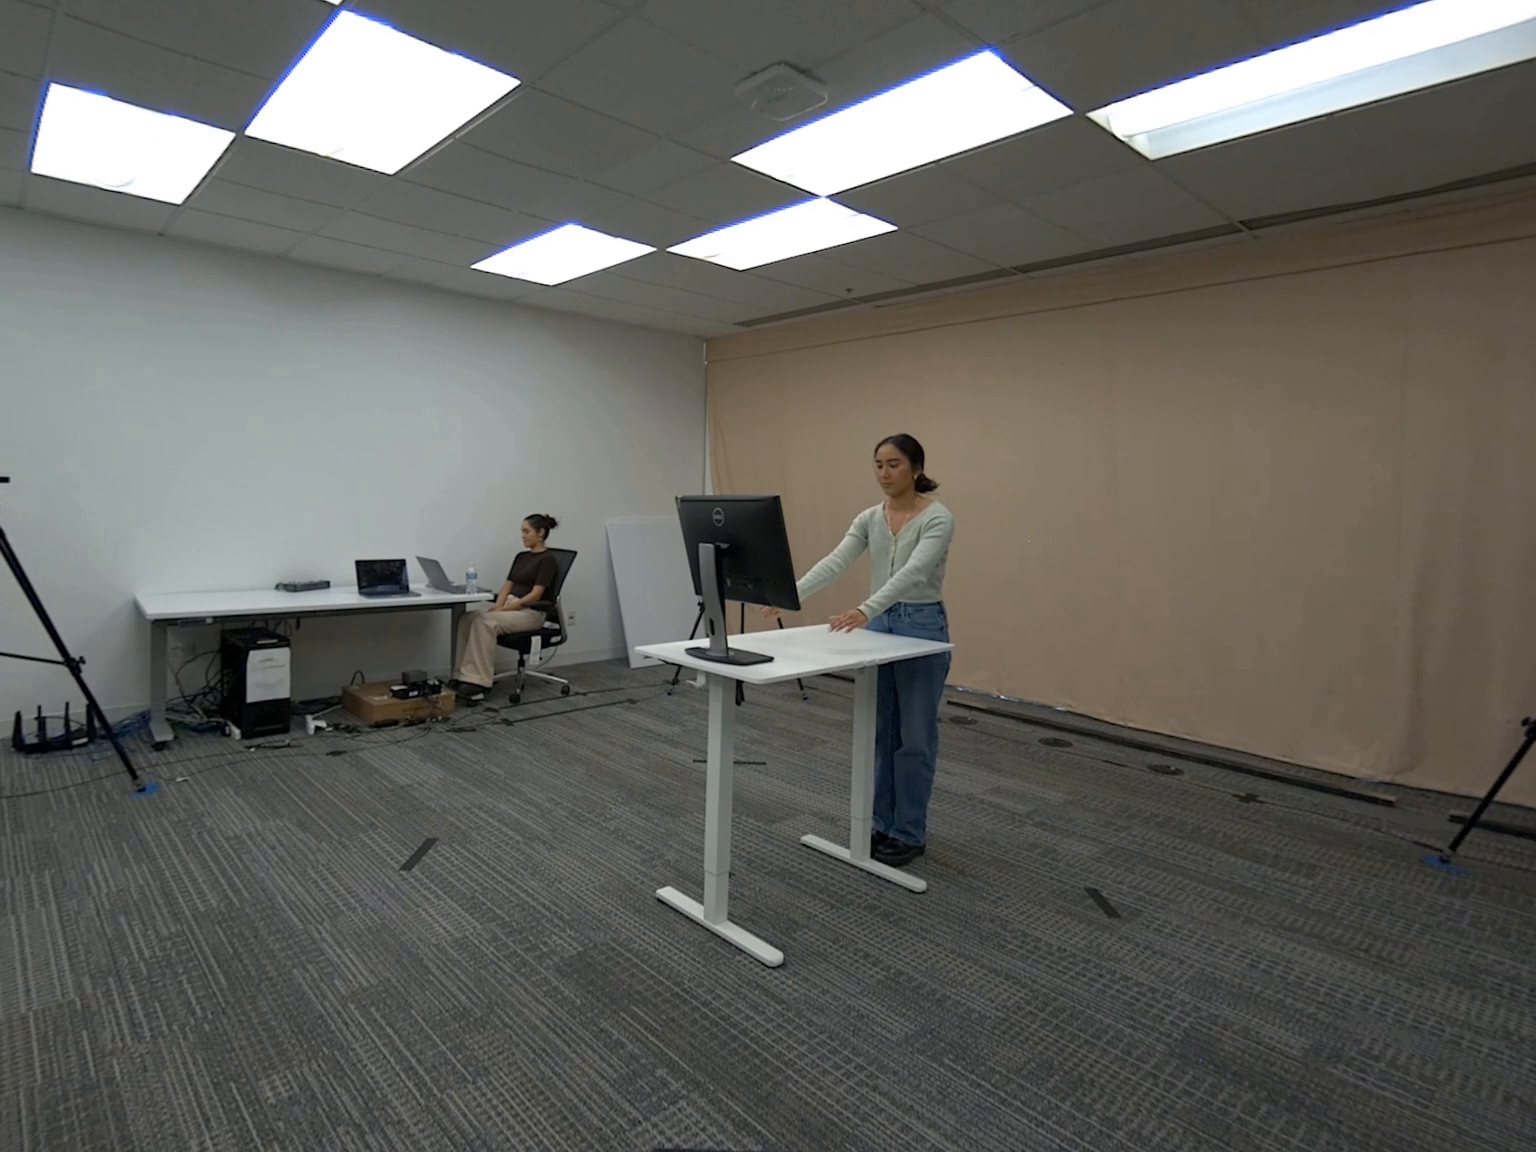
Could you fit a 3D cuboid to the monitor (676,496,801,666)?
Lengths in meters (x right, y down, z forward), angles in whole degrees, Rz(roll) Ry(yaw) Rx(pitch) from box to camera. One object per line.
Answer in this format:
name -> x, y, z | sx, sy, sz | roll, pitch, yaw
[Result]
monitor -> -0.133, 0.012, 2.632 | 0.183, 0.521, 0.553 | -4, 6, -41
